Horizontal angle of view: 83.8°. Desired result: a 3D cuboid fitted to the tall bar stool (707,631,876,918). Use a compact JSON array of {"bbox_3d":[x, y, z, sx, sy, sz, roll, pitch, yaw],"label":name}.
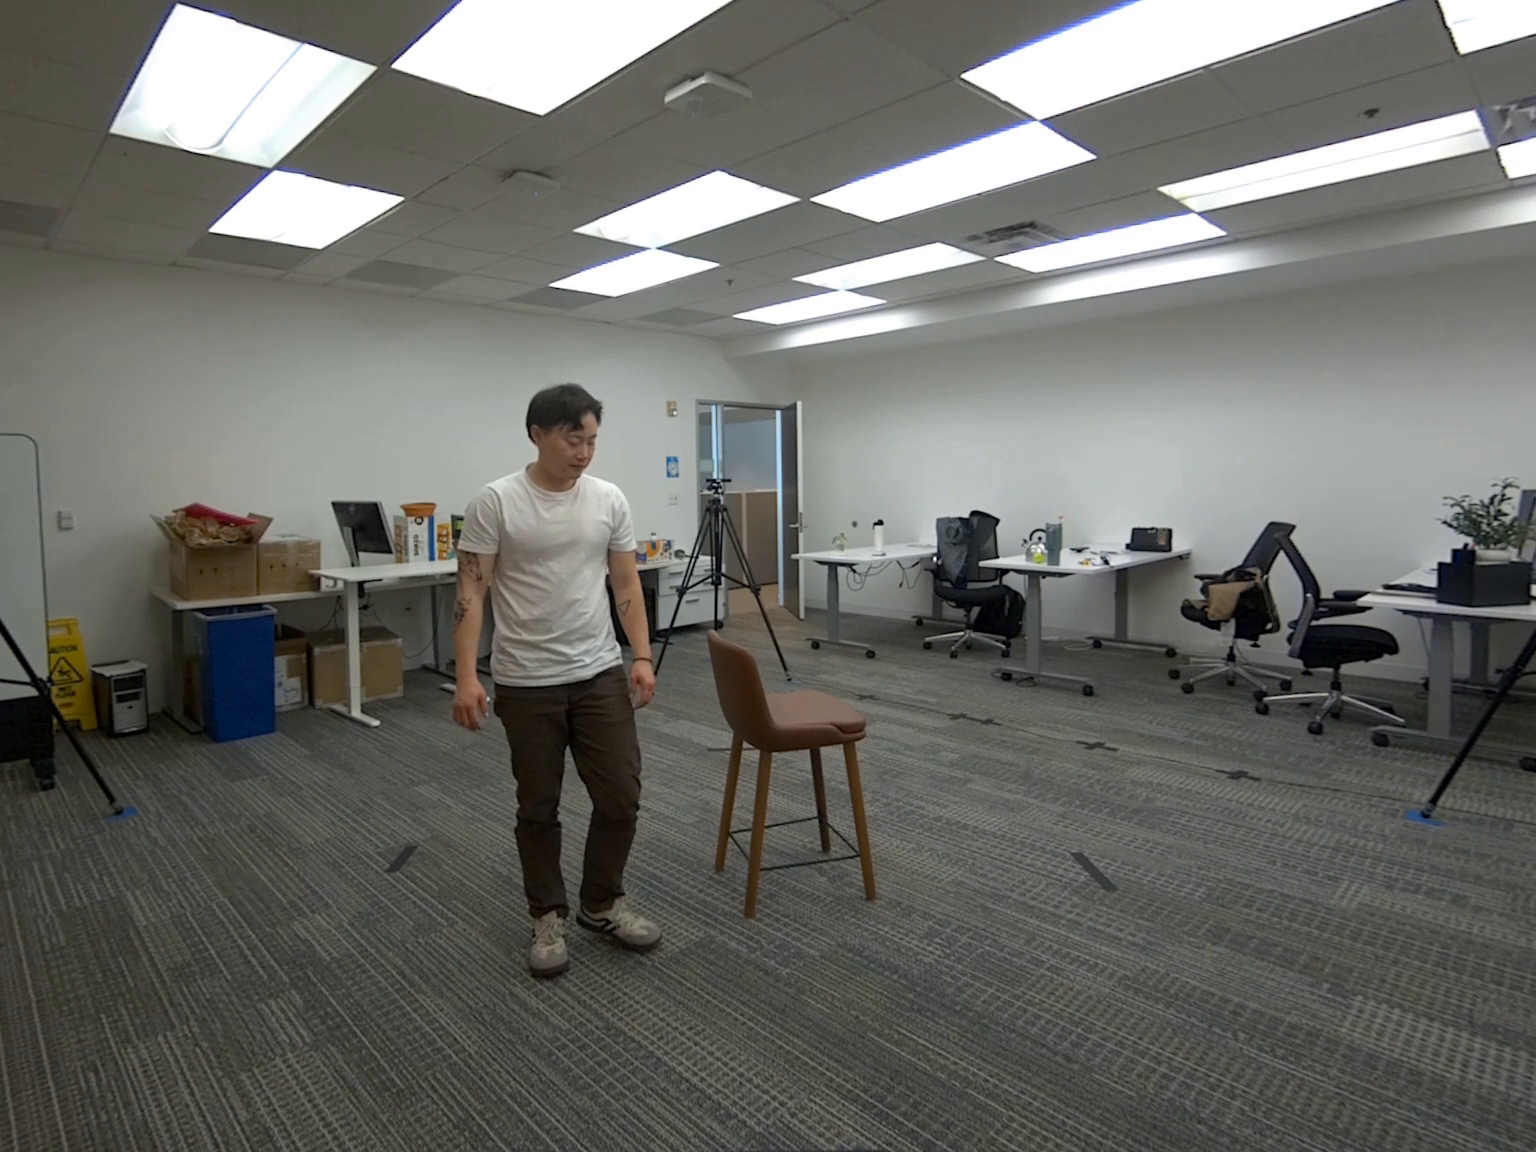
[{"bbox_3d":[0.070,0.628,2.924,0.460,0.886,0.466,-4,5,-19],"label":"tall bar stool"}]
